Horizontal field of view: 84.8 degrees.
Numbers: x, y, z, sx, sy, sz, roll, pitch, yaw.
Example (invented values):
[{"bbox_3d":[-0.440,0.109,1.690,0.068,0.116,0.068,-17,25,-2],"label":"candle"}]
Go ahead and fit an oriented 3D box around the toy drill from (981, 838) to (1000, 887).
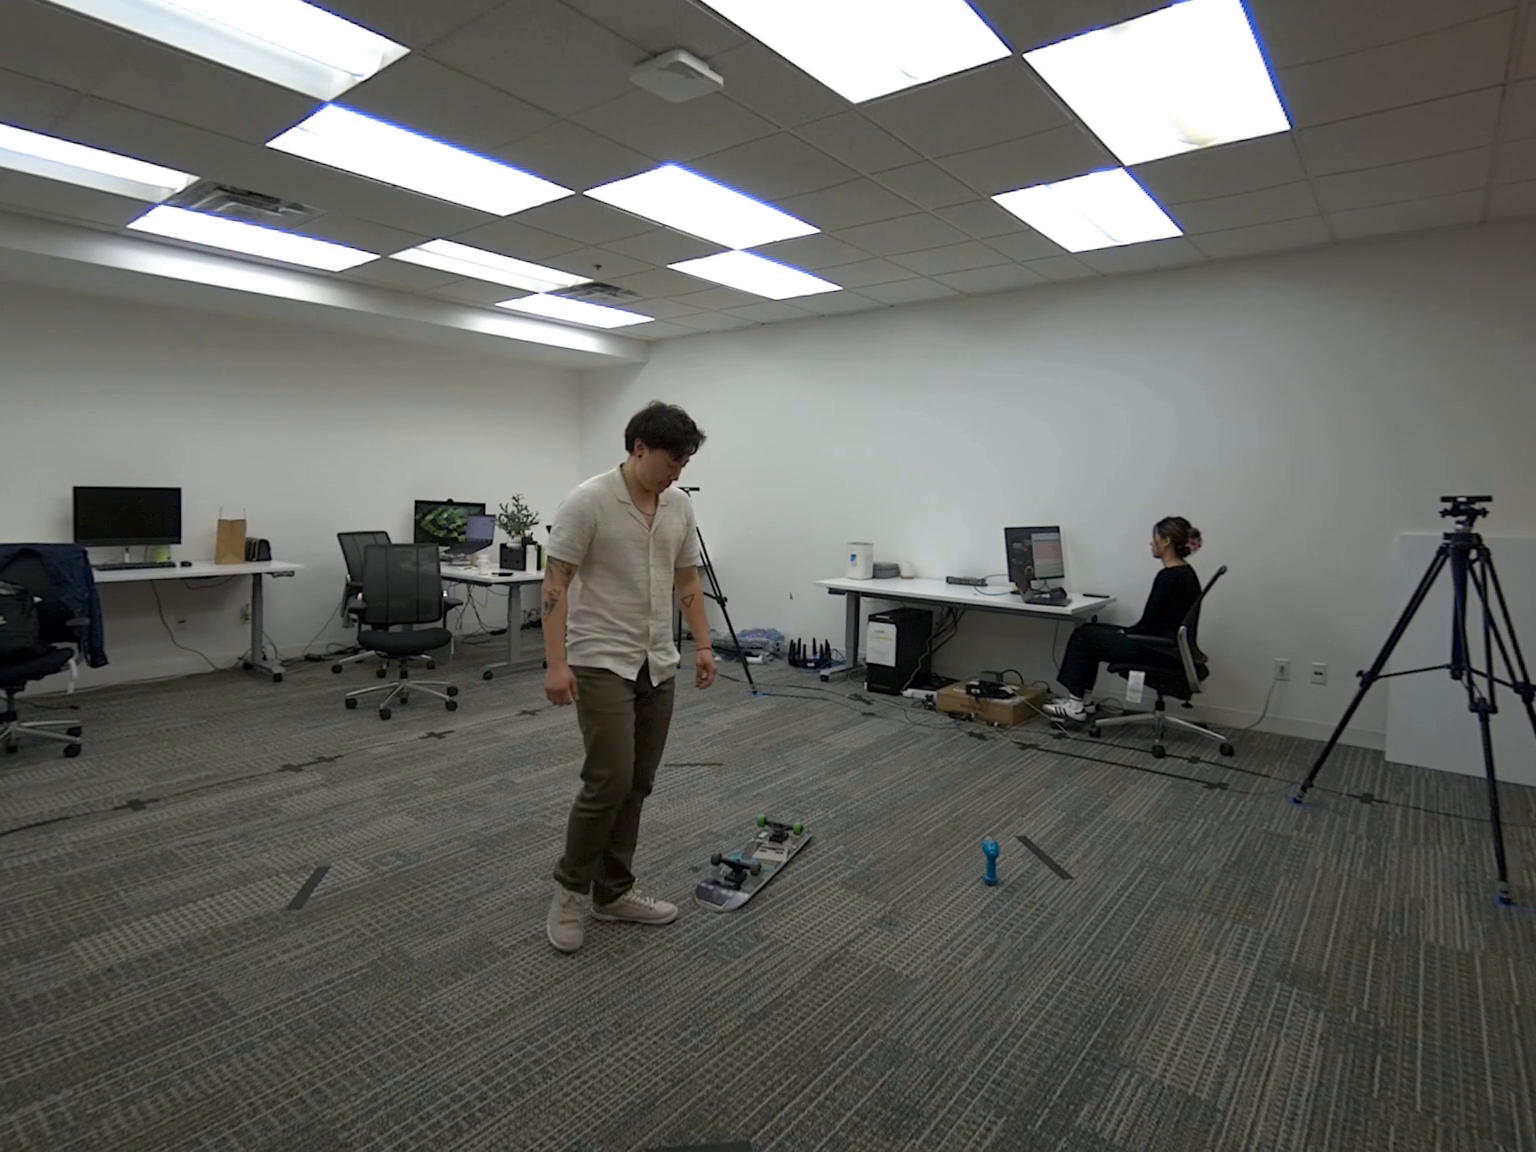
[{"bbox_3d":[0.791,1.011,3.095,0.061,0.145,0.170,-1,4,0],"label":"toy drill"}]
